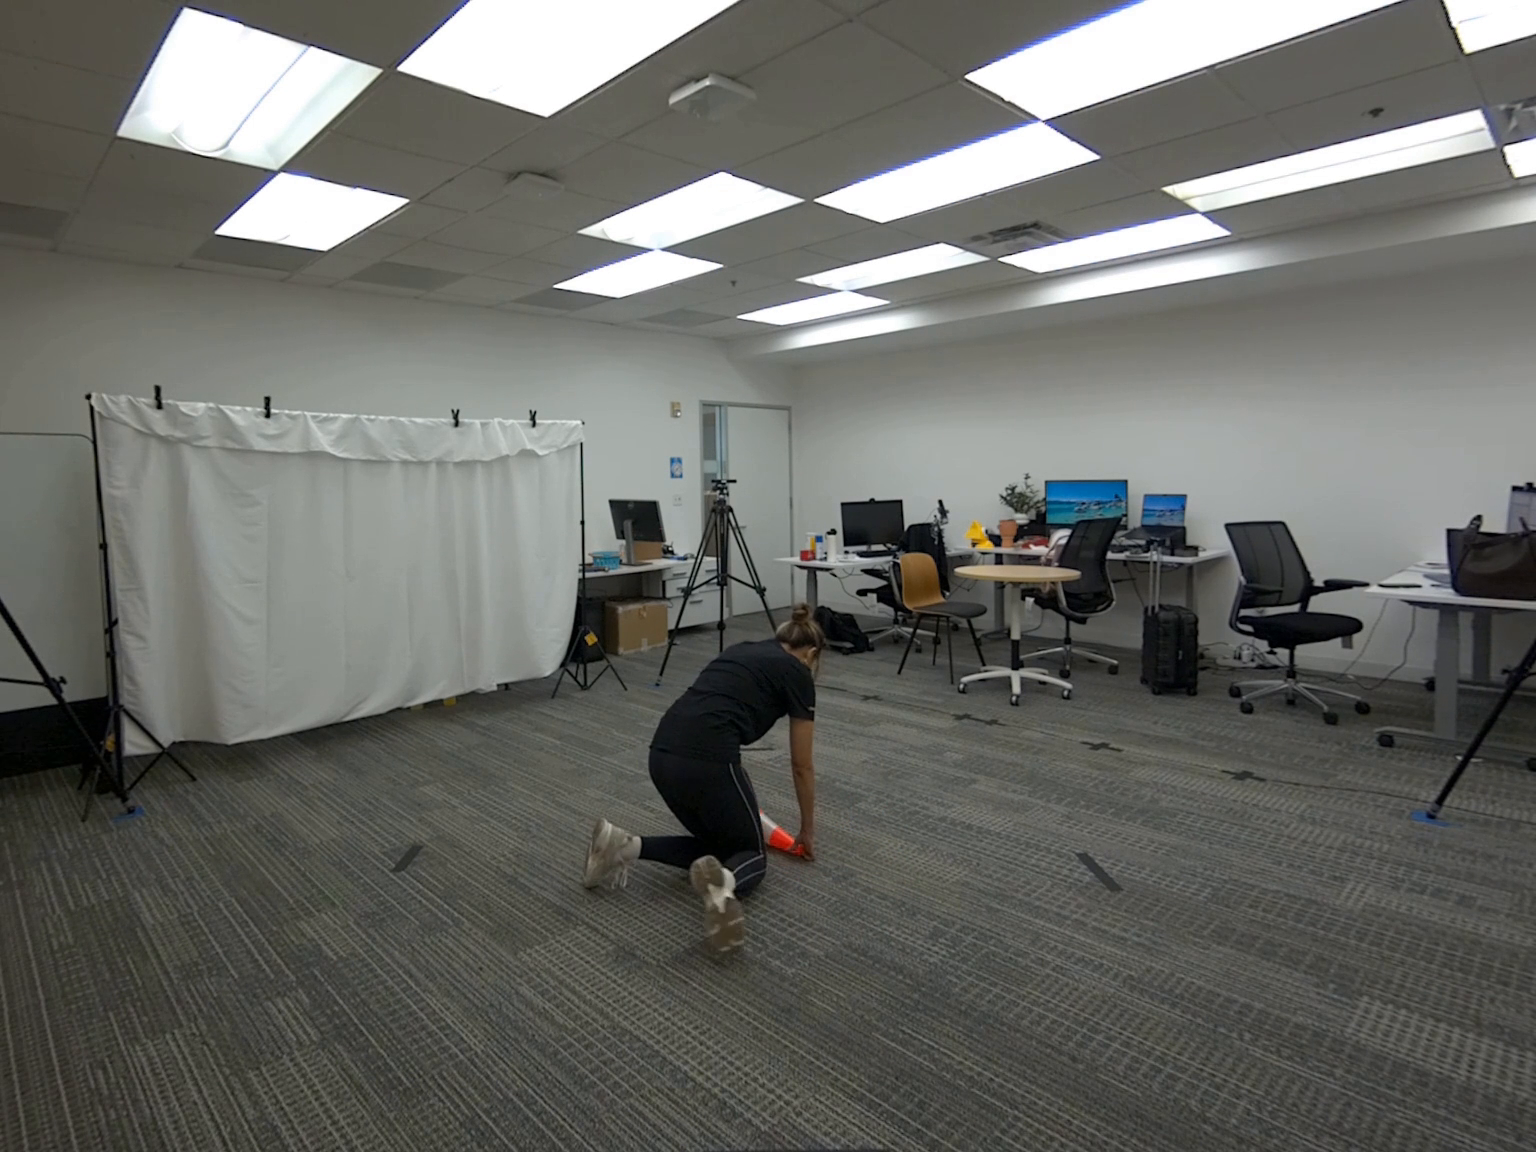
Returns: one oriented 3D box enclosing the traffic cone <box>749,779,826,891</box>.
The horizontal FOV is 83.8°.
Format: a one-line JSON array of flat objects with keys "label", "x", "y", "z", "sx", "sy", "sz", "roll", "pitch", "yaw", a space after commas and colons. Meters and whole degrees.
[{"label": "traffic cone", "x": -0.014, "y": 0.978, "z": 3.285, "sx": 0.397, "sy": 0.201, "sz": 0.199, "roll": 20, "pitch": 16, "yaw": 37}]
